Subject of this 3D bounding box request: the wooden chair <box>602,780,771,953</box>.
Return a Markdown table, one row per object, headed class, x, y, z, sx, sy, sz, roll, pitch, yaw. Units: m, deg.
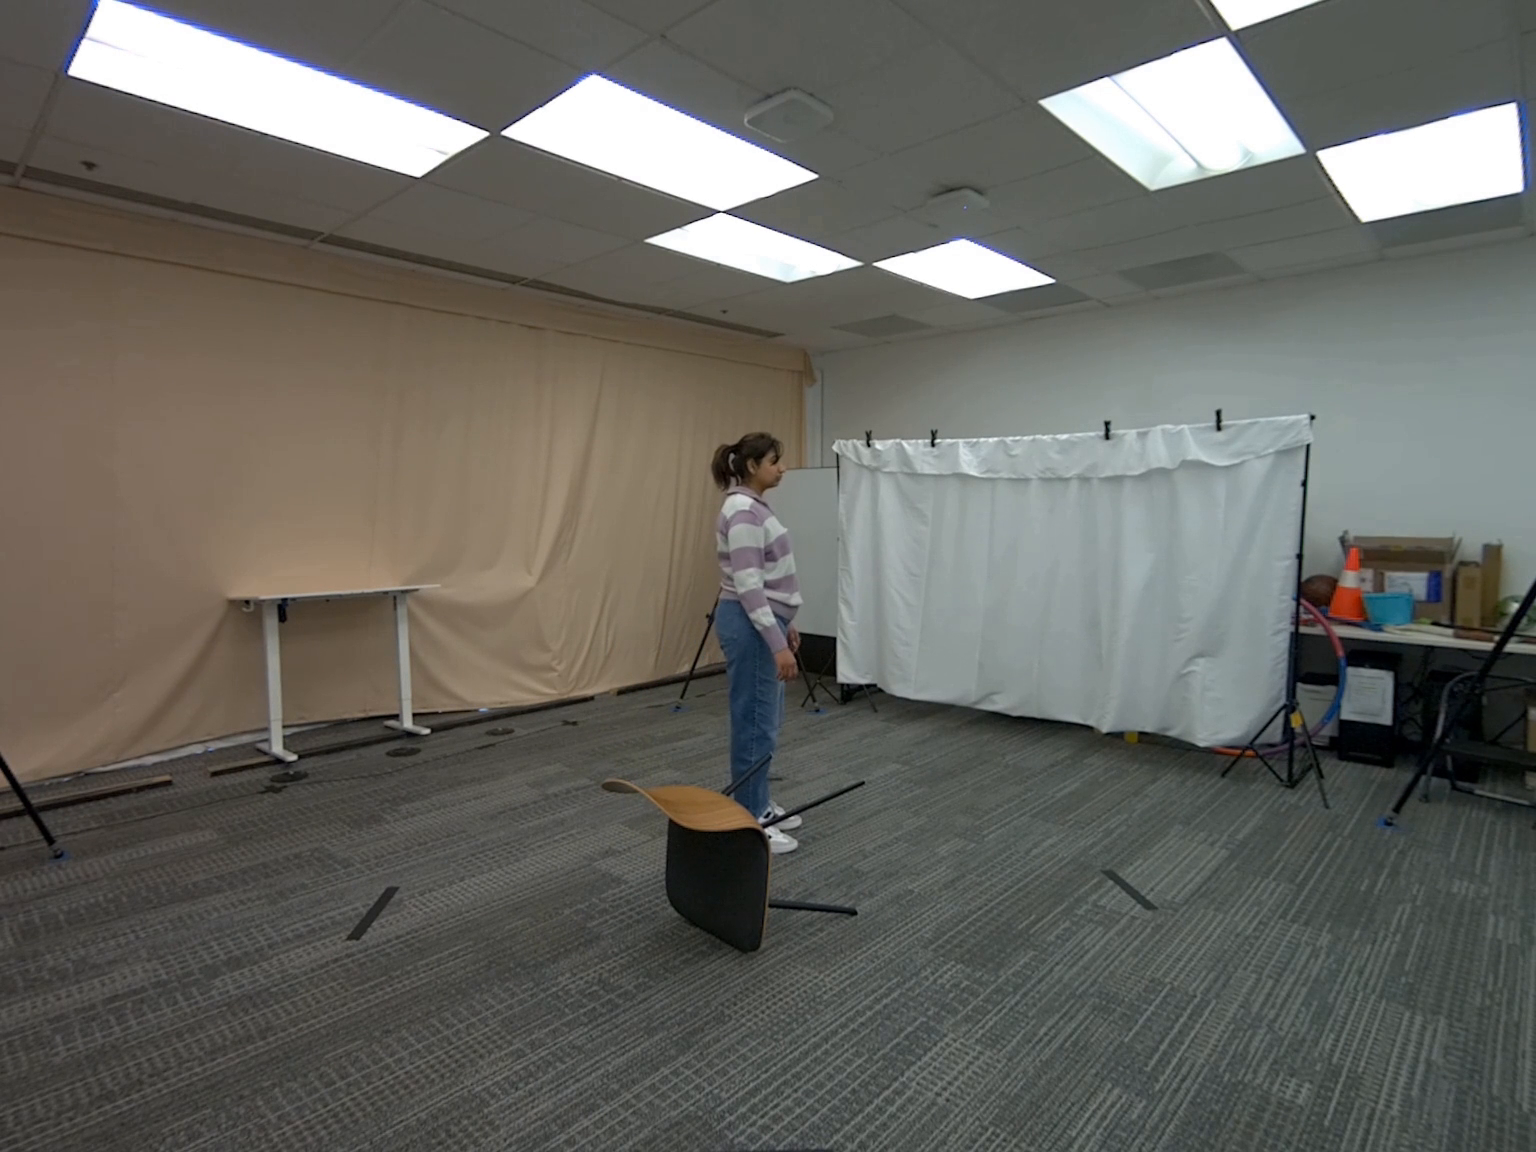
| class | x | y | z | sx | sy | sz | roll | pitch | yaw |
| --- | --- | --- | --- | --- | --- | --- | --- | --- | --- |
| wooden chair | -0.137 | 0.909 | 2.742 | 0.494 | 0.524 | 0.847 | 4 | -3 | 45 |
